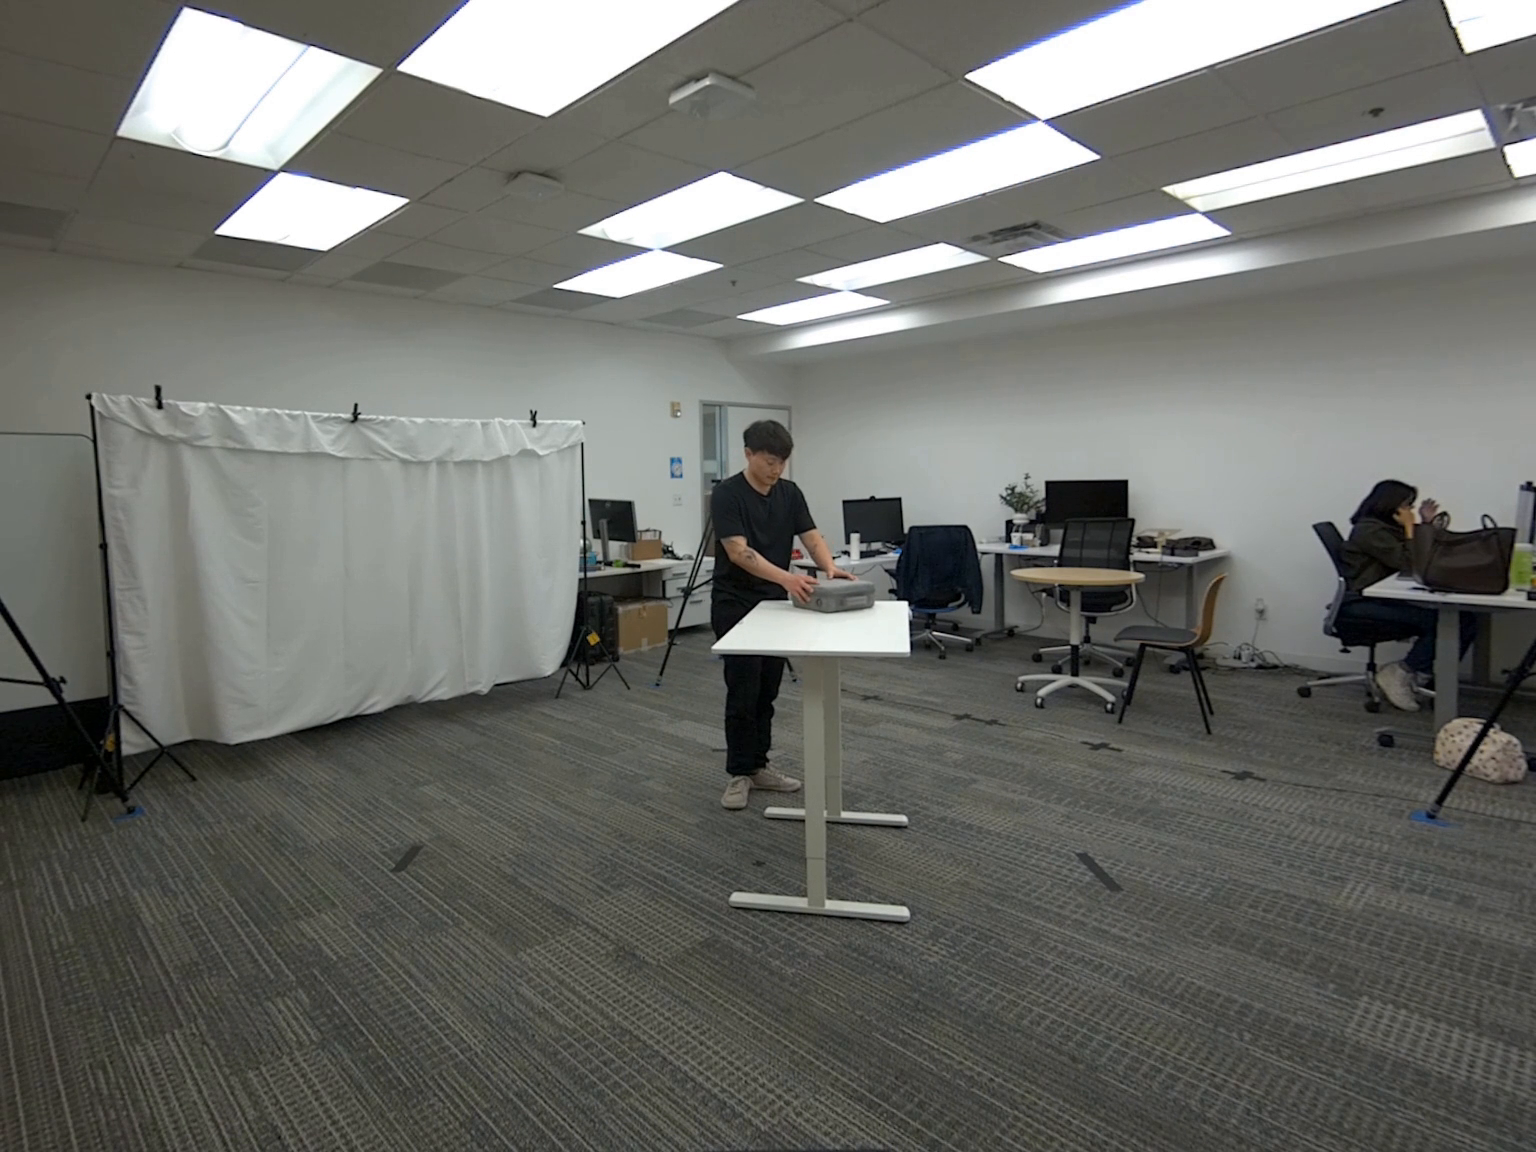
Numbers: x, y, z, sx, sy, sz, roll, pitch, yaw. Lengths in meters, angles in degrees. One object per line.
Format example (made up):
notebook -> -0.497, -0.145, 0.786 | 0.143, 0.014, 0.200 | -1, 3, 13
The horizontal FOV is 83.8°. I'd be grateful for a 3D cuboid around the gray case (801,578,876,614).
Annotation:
gray case -> 0.266, 0.075, 3.386 | 0.251, 0.104, 0.268 | -4, 7, -31
